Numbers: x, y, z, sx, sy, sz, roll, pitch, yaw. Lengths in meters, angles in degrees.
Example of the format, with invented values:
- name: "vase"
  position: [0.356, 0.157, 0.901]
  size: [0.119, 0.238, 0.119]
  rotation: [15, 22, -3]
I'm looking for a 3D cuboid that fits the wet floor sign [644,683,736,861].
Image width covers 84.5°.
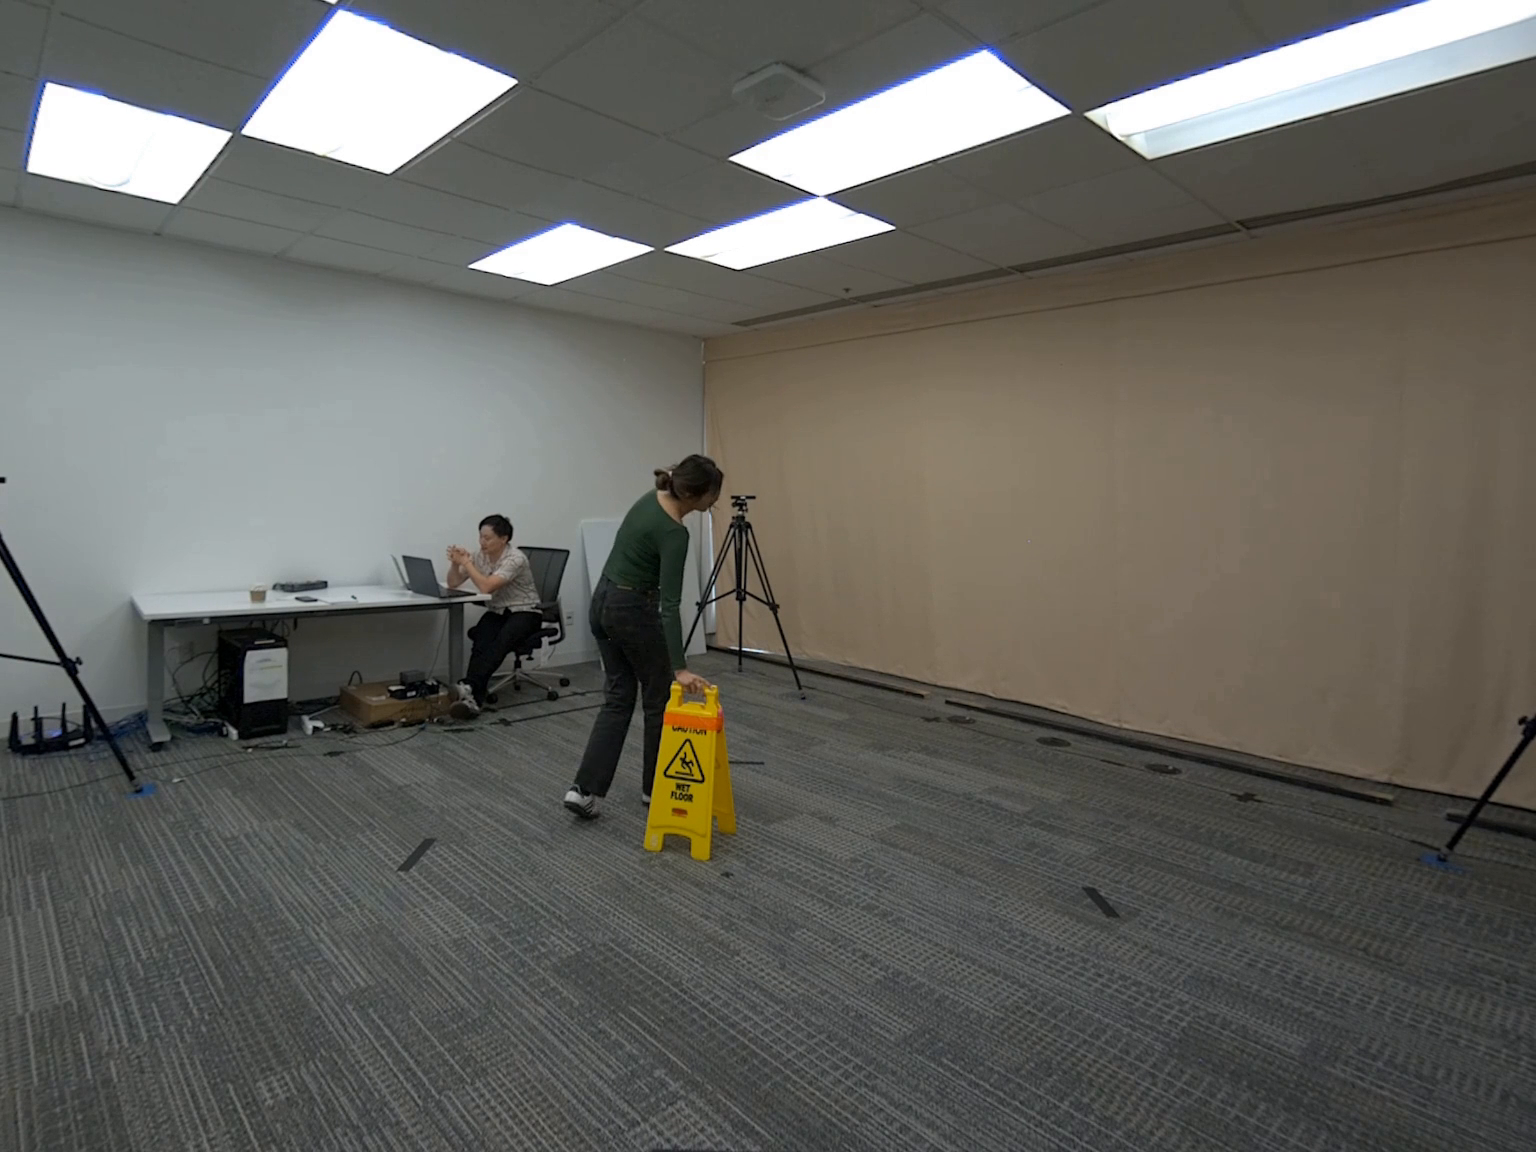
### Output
- name: "wet floor sign"
  position: [-0.311, 0.751, 3.384]
  size: [0.287, 0.644, 0.286]
  rotation: [1, 4, 20]
